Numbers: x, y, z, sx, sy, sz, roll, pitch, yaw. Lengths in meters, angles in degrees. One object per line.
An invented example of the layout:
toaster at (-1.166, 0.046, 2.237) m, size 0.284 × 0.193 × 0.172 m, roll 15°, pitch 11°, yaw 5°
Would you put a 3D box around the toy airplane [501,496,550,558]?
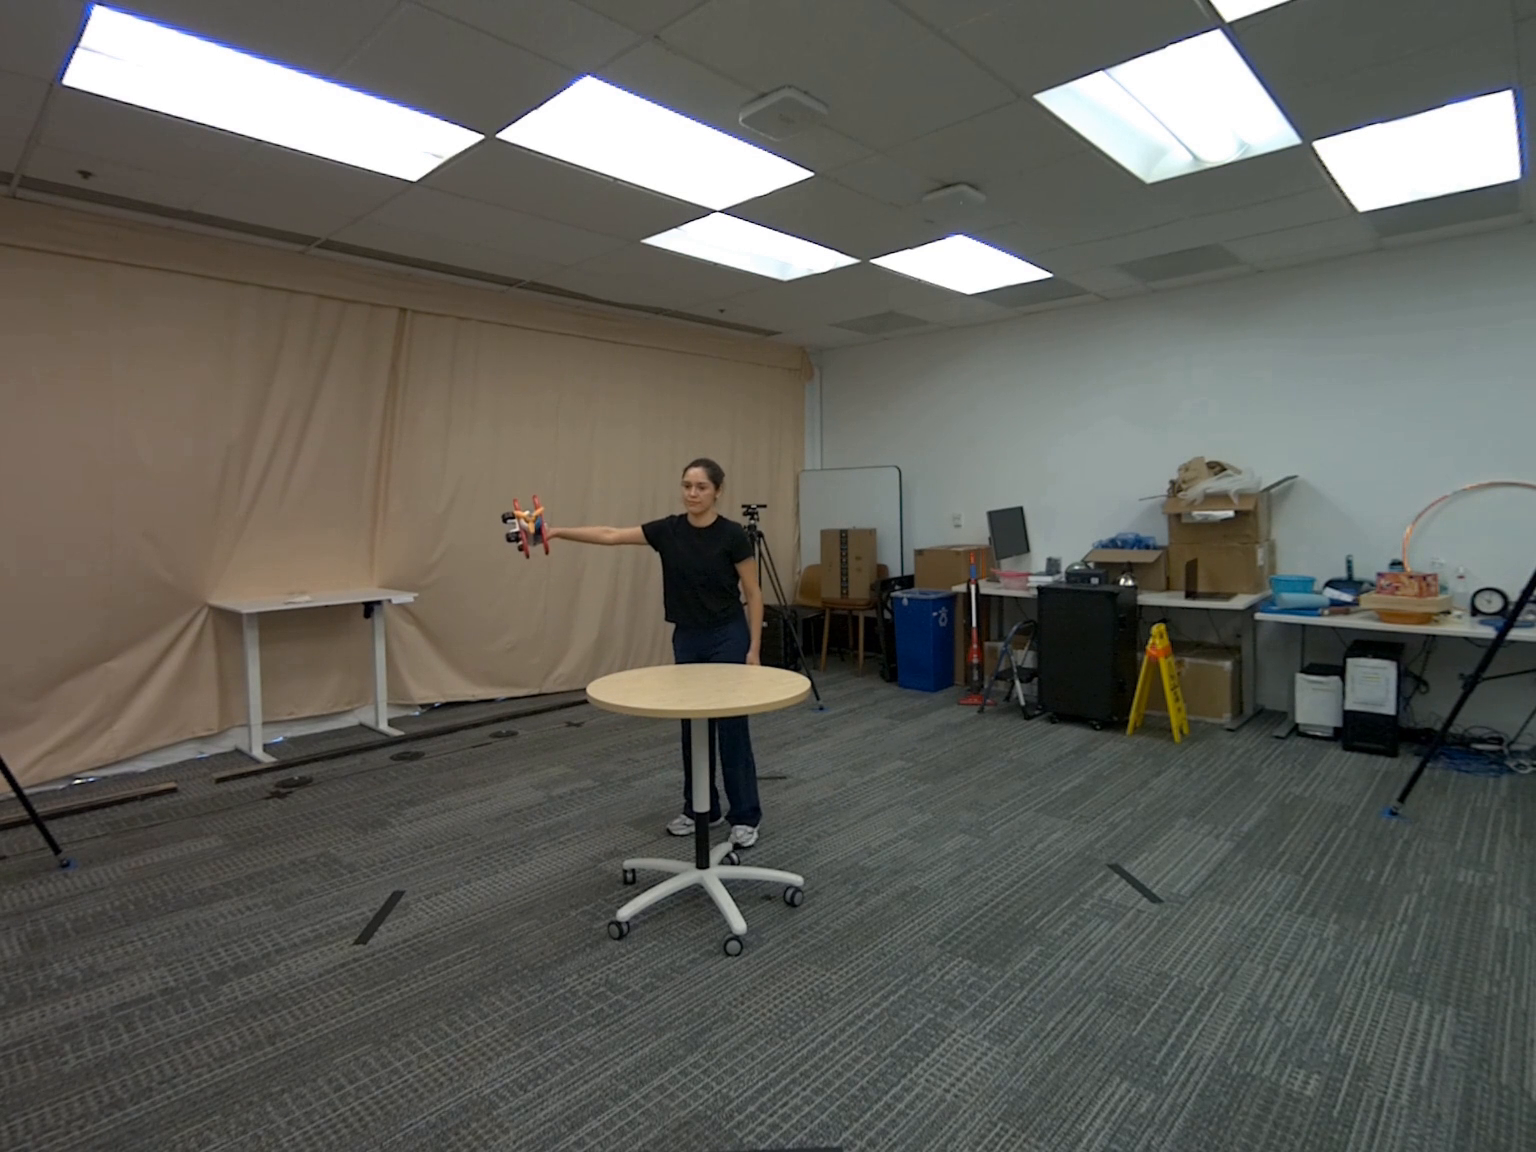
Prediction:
toy airplane at (-0.959, -0.191, 3.400) m, size 0.156 × 0.249 × 0.261 m, roll -14°, pitch 7°, yaw -2°
